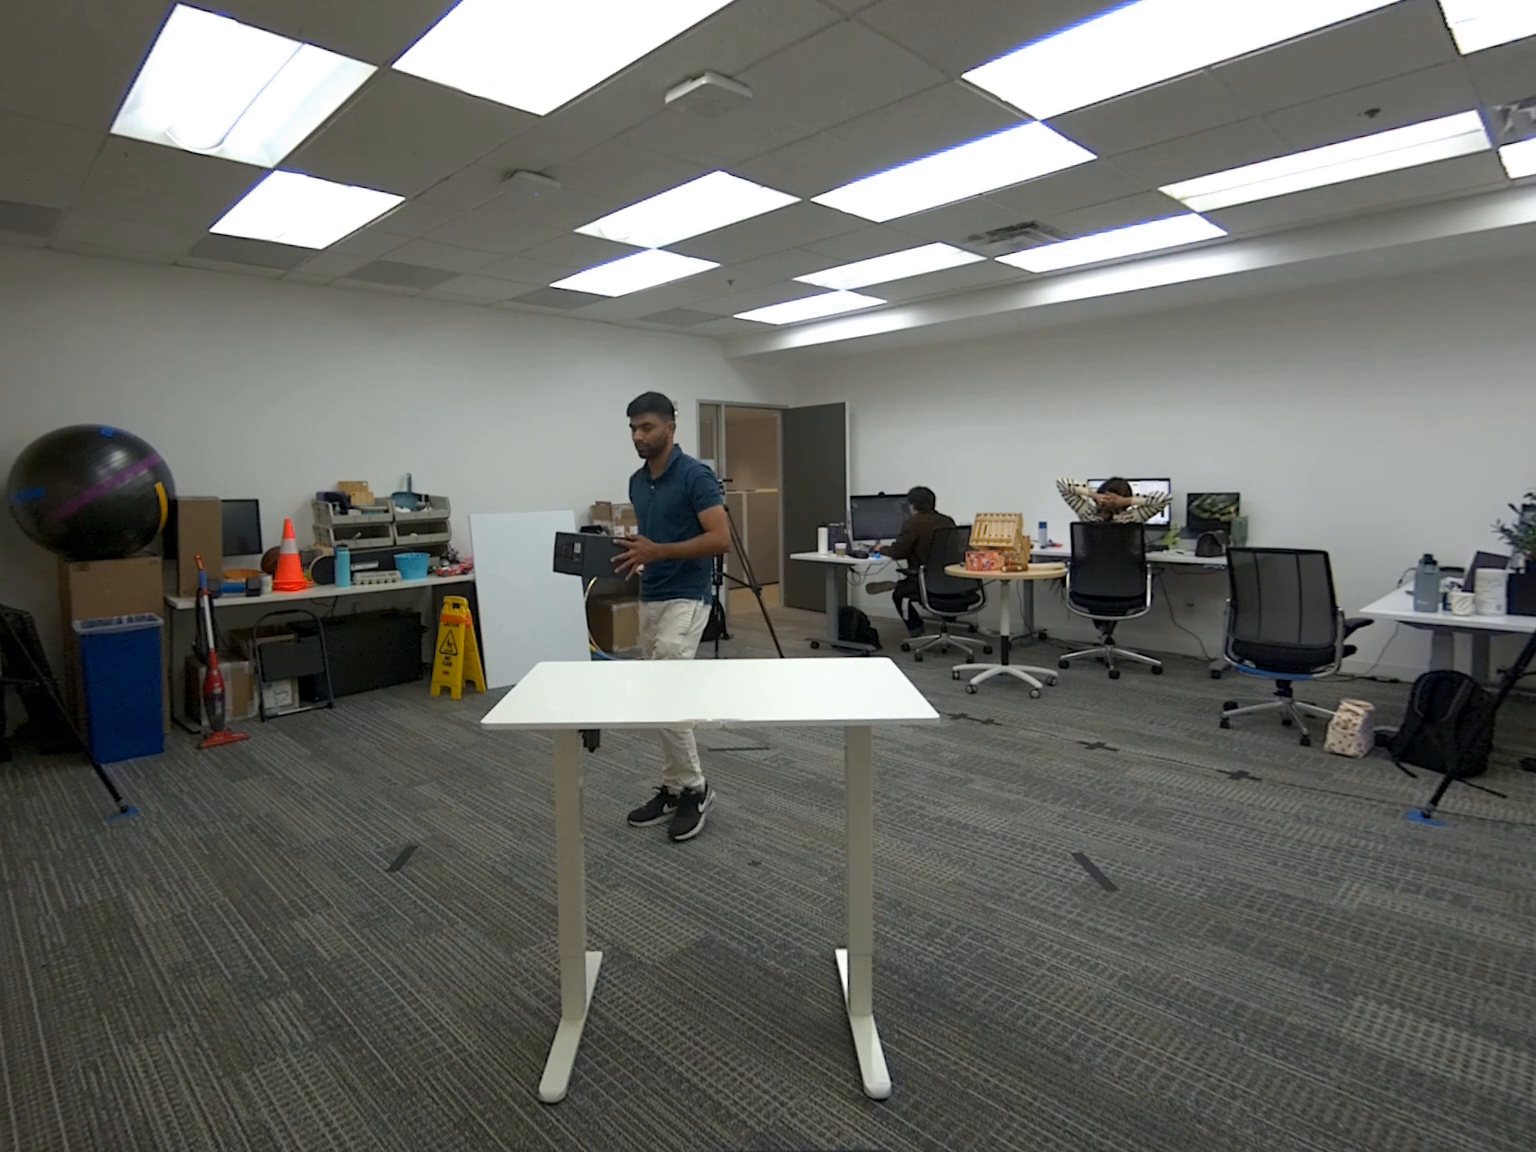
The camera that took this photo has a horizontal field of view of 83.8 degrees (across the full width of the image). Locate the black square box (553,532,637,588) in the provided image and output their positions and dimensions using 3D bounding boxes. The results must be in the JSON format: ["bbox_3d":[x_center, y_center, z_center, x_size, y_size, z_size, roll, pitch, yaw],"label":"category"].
[{"bbox_3d":[-0.663,-0.078,3.249,0.221,0.156,0.224,3,2,-42],"label":"black square box"}]
